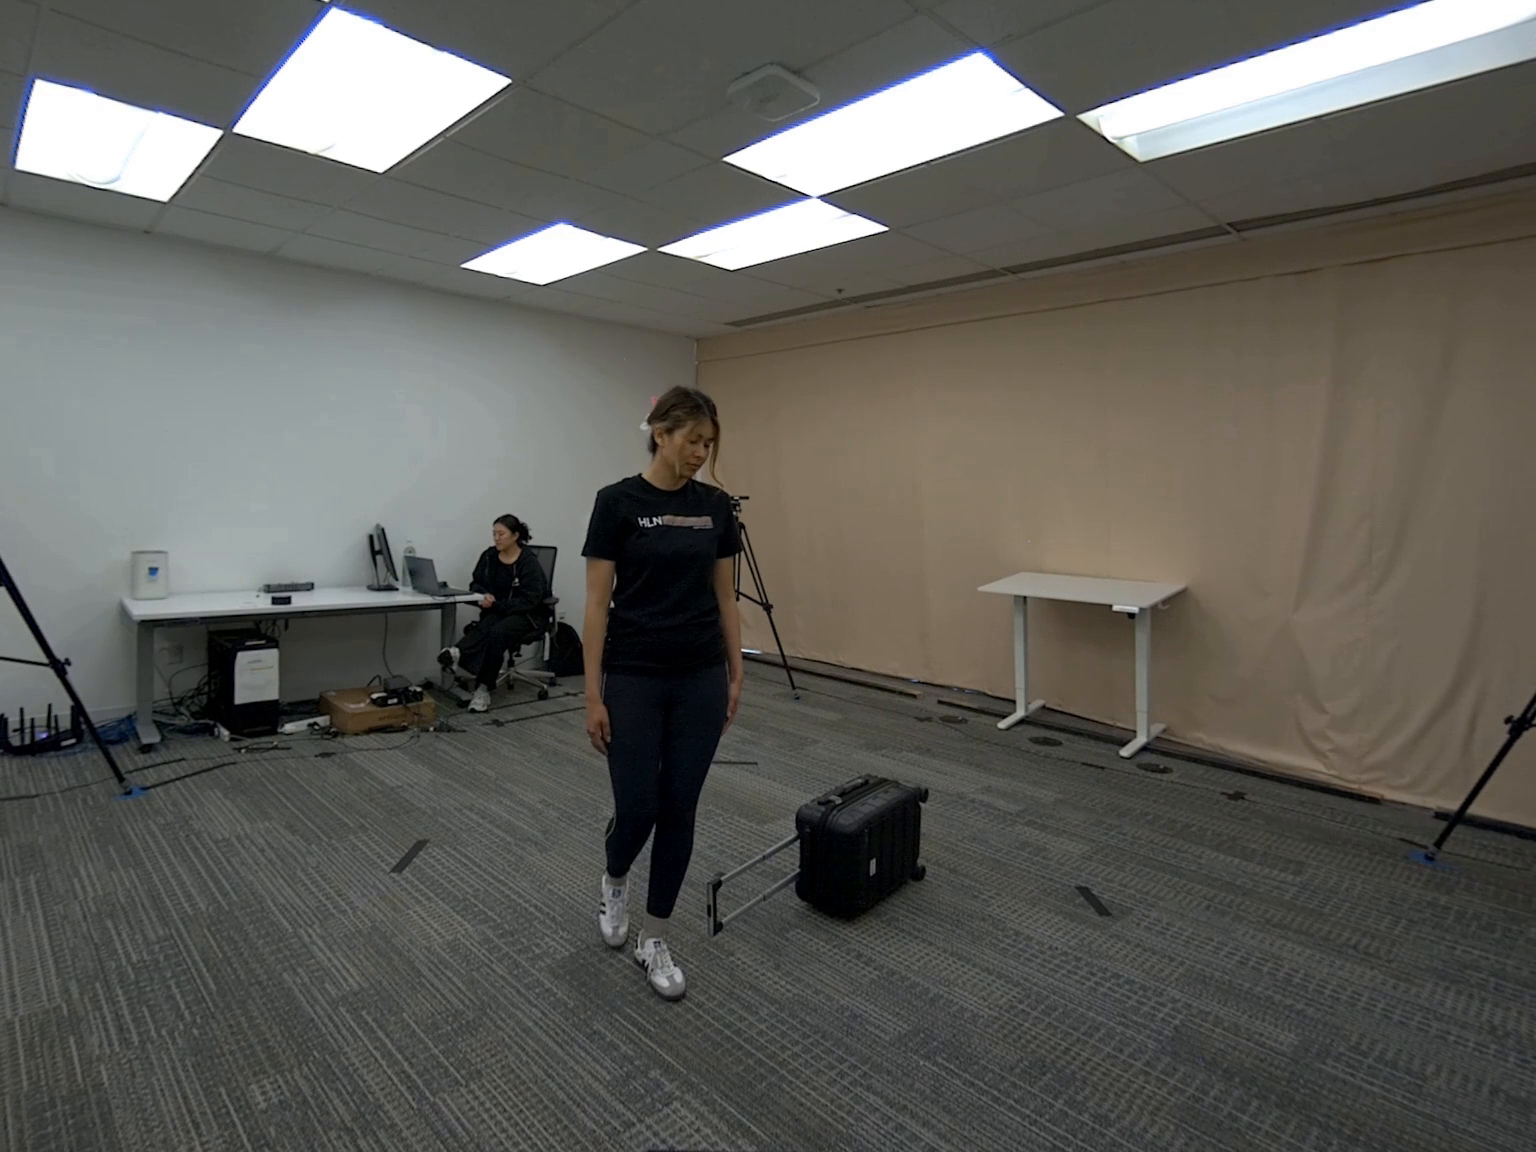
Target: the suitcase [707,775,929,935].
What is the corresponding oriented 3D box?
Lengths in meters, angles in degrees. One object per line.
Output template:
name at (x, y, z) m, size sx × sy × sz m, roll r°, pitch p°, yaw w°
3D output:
suitcase at (0.207, 0.950, 2.812) m, size 0.263 × 0.383 × 0.958 m, roll 4°, pitch 6°, yaw 36°
